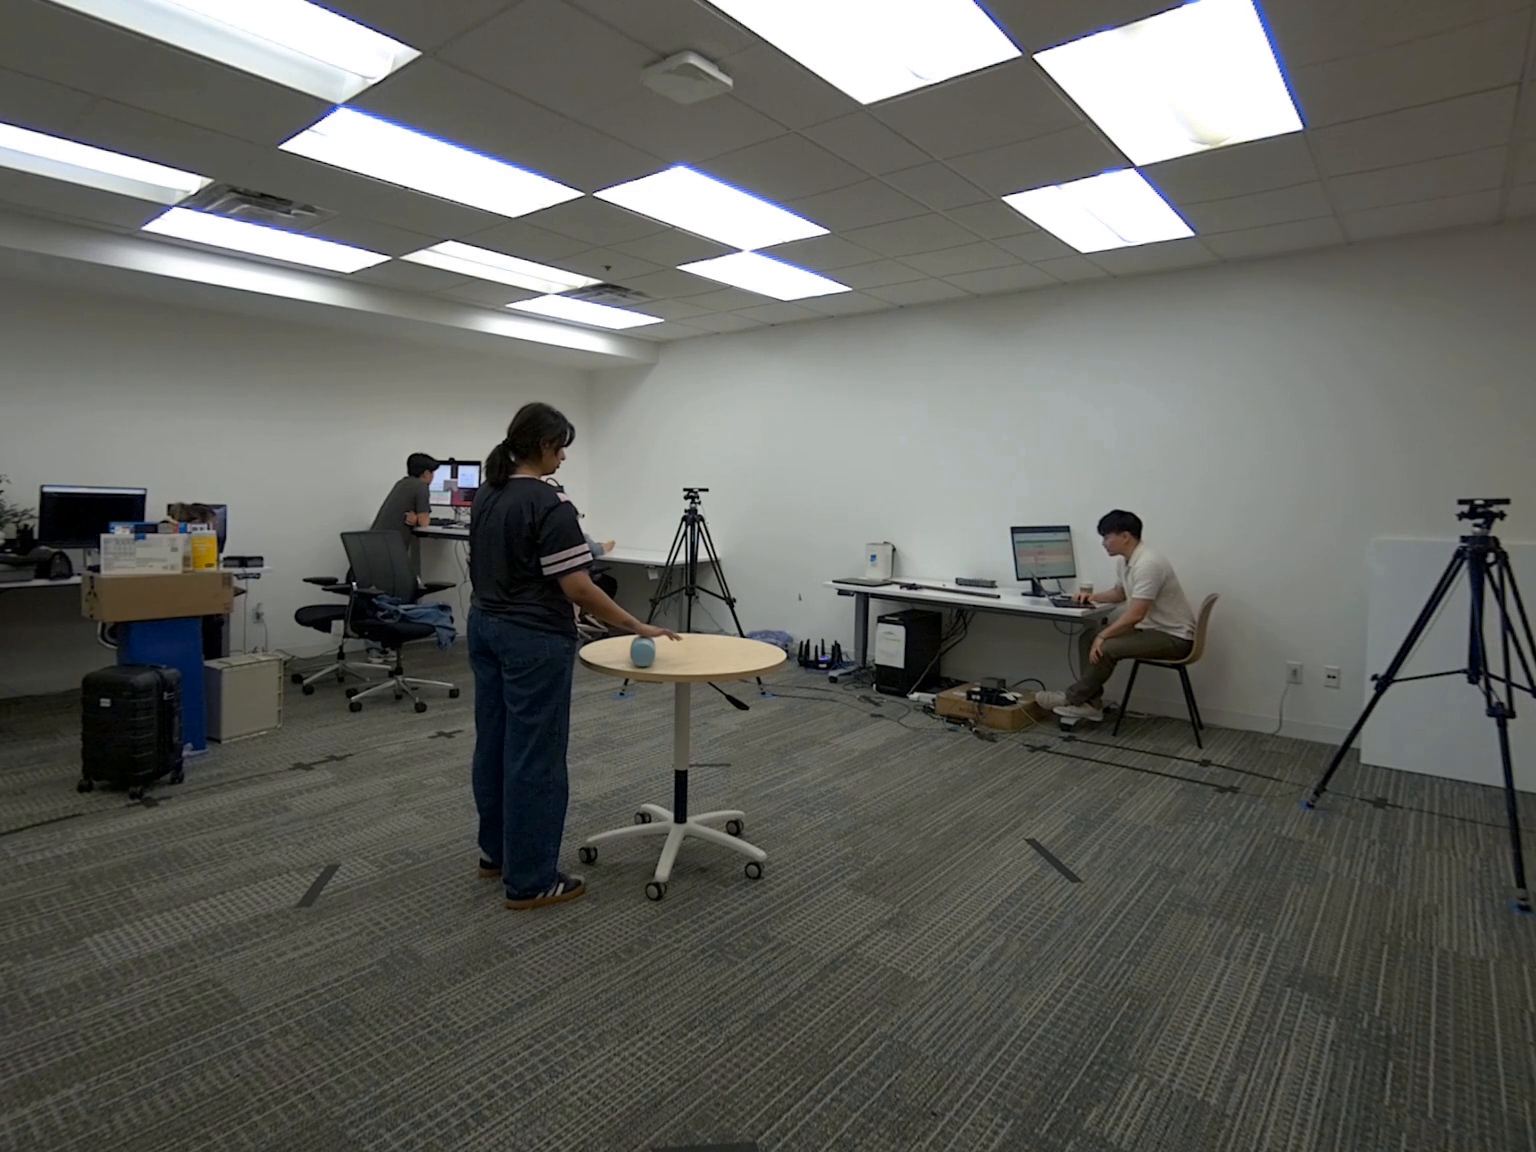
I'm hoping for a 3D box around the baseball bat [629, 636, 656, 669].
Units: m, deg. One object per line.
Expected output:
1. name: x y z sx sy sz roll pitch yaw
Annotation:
1. baseball bat: -0.474 0.248 3.122 0.088 0.089 0.550 0 4 -11
